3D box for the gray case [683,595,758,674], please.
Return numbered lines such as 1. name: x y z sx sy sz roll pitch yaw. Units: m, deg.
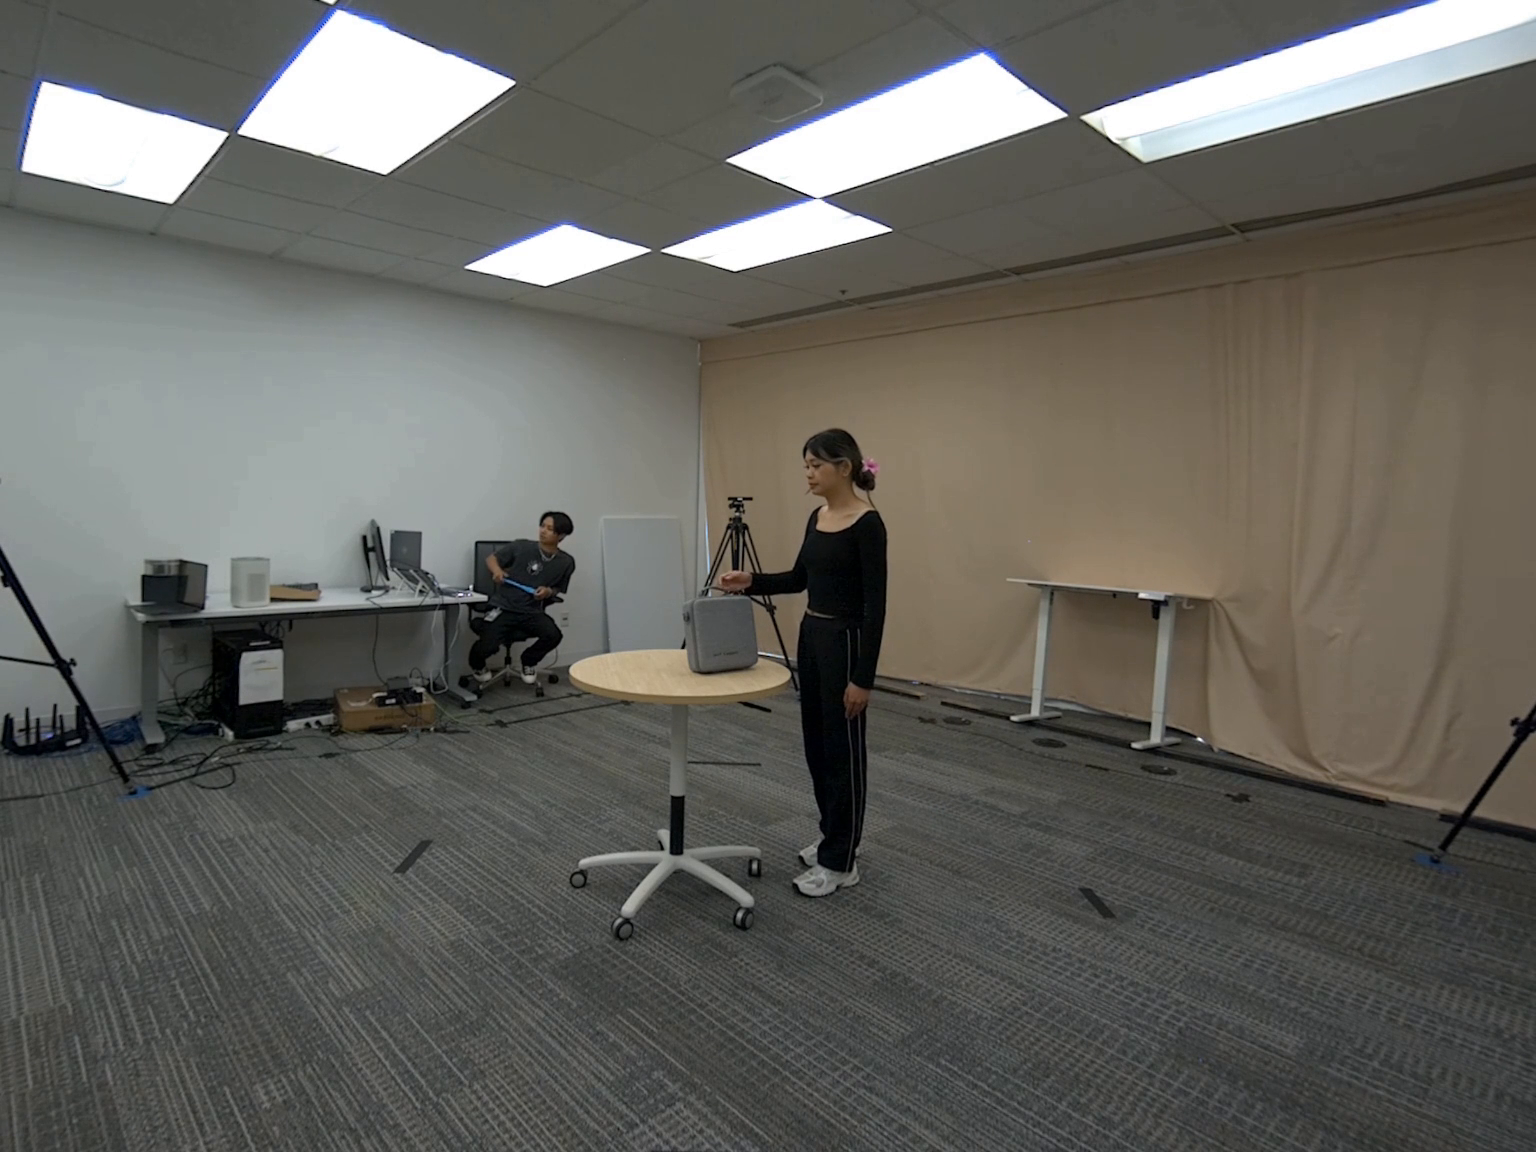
1. gray case: -0.172 0.197 2.950 0.251 0.262 0.106 -1 -8 -36
